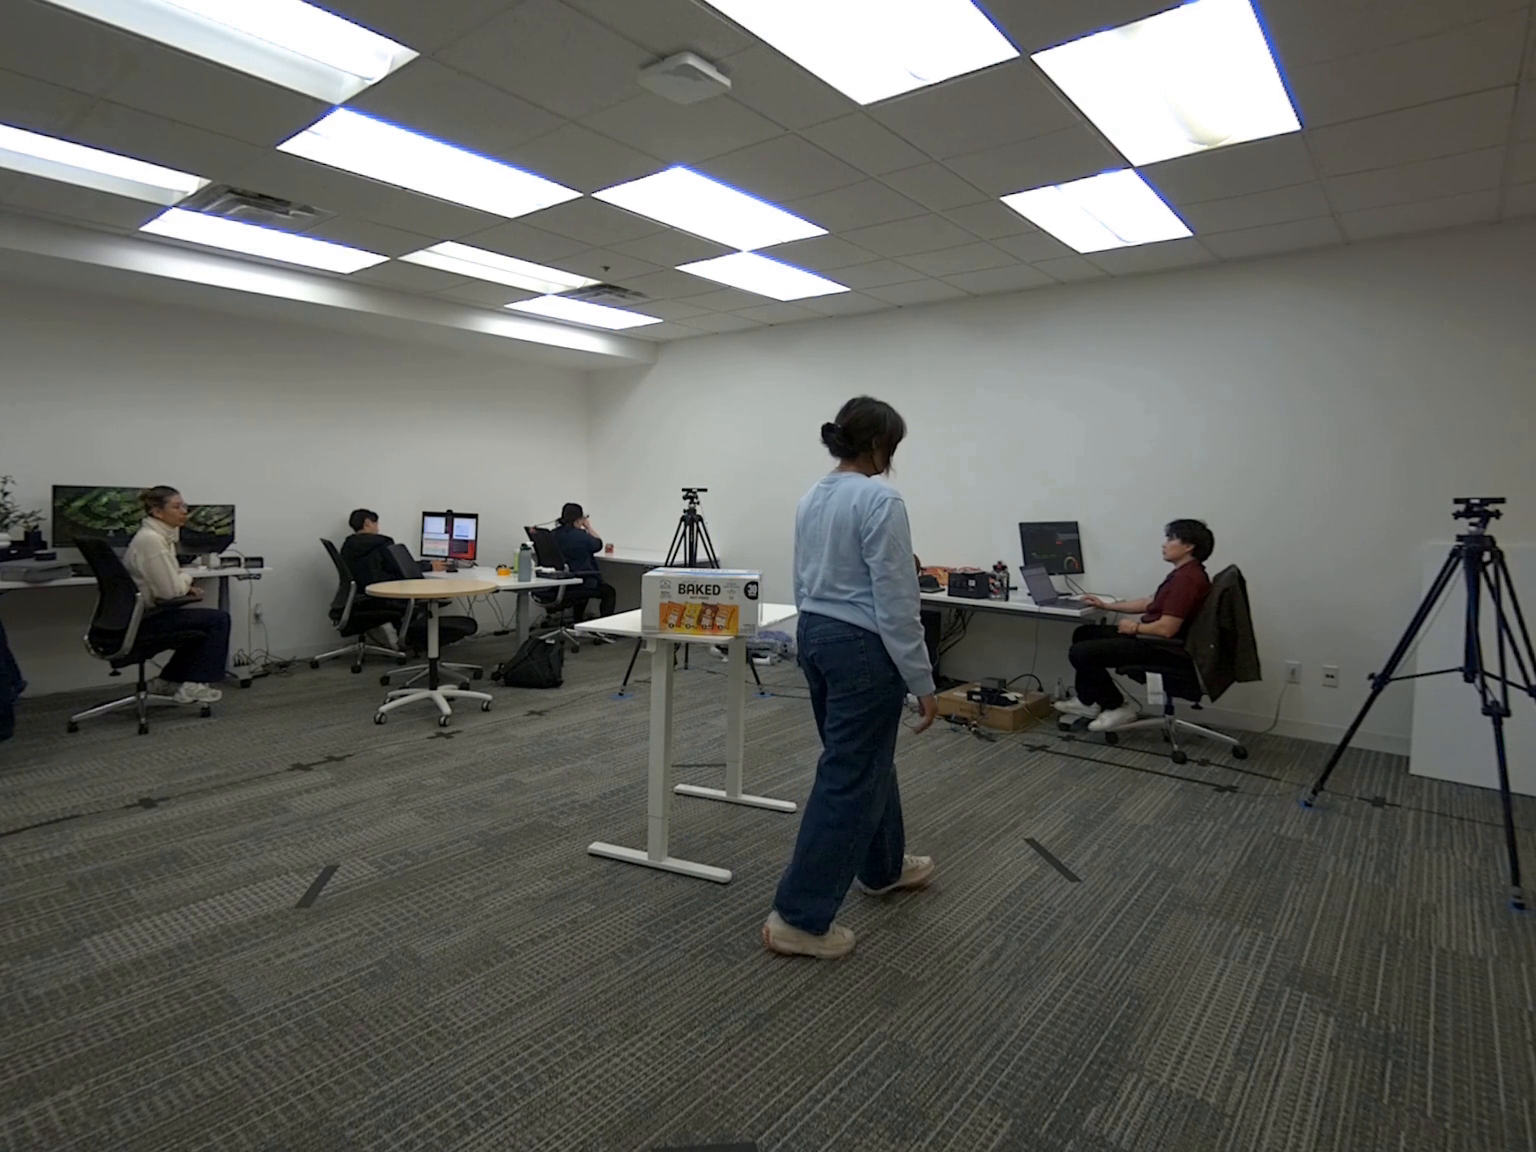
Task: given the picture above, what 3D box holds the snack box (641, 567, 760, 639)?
[{"bbox_3d":[-0.237,0.087,3.086,0.407,0.205,0.340,1,5,4],"label":"snack box"}]
